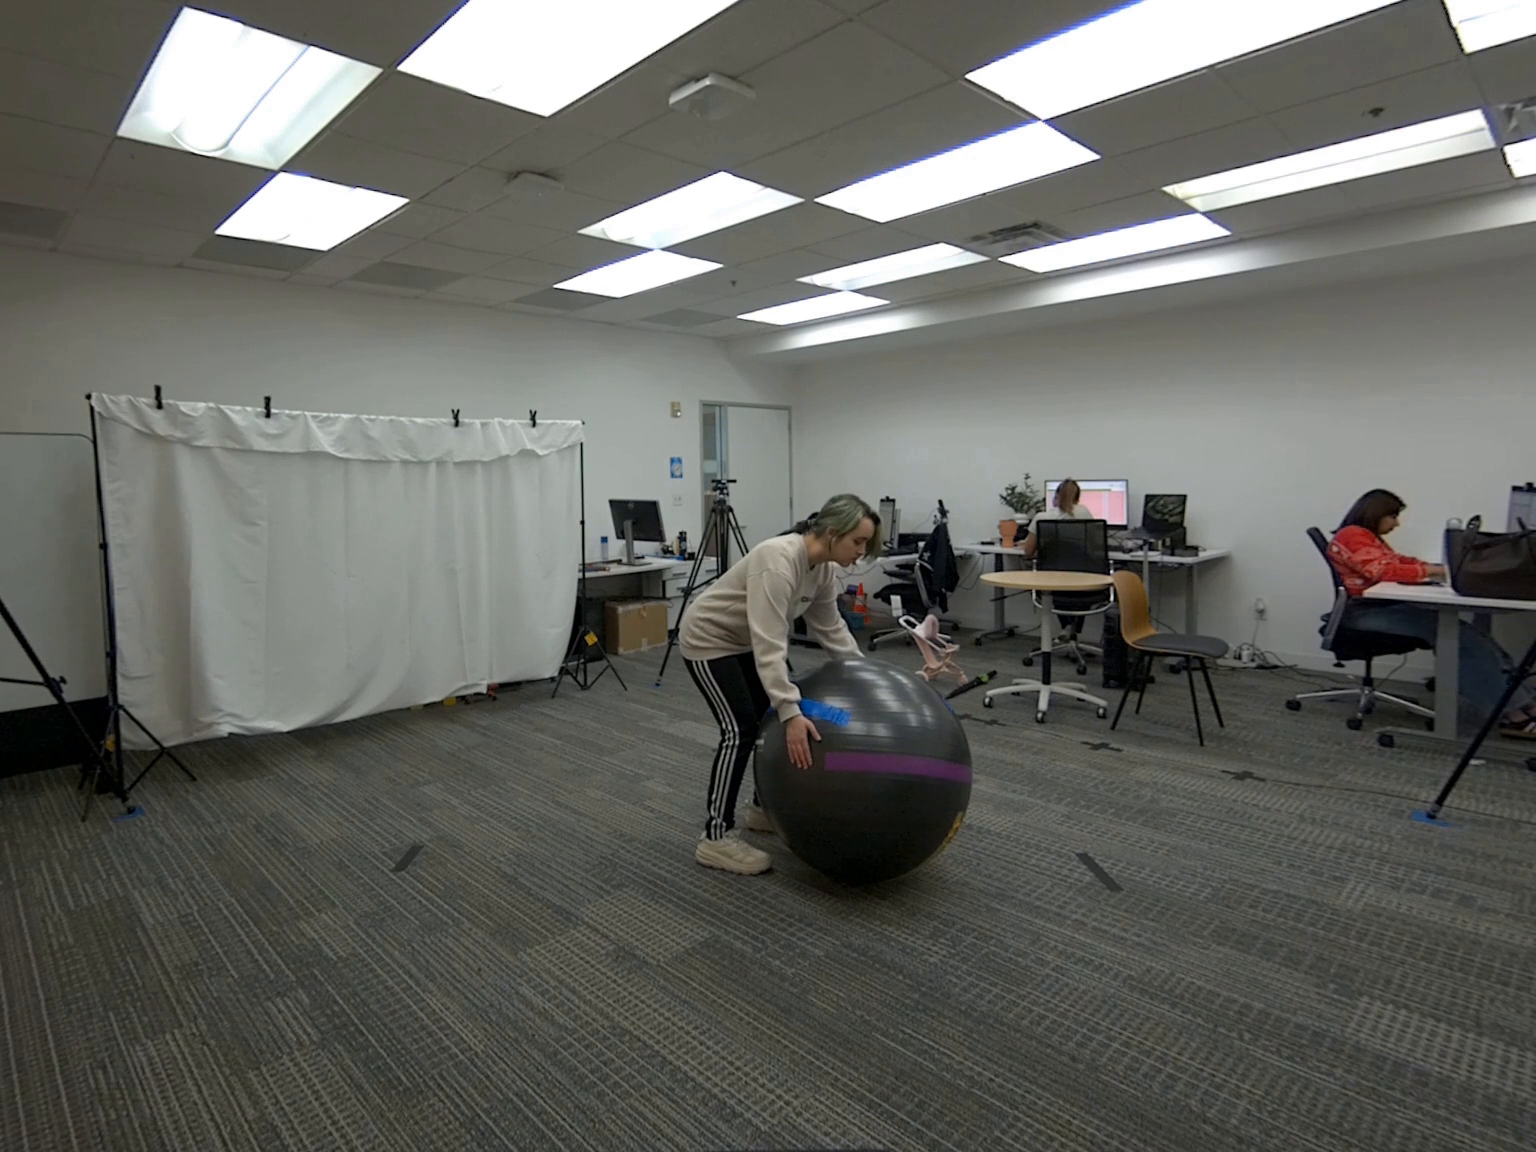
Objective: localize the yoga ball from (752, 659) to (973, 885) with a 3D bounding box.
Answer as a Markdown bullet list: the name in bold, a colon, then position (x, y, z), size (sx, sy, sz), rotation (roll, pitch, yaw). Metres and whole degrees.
- **yoga ball**: position (0.330, 0.672, 3.010), size (0.757, 0.755, 0.762), rotation (-1, 5, -2)
